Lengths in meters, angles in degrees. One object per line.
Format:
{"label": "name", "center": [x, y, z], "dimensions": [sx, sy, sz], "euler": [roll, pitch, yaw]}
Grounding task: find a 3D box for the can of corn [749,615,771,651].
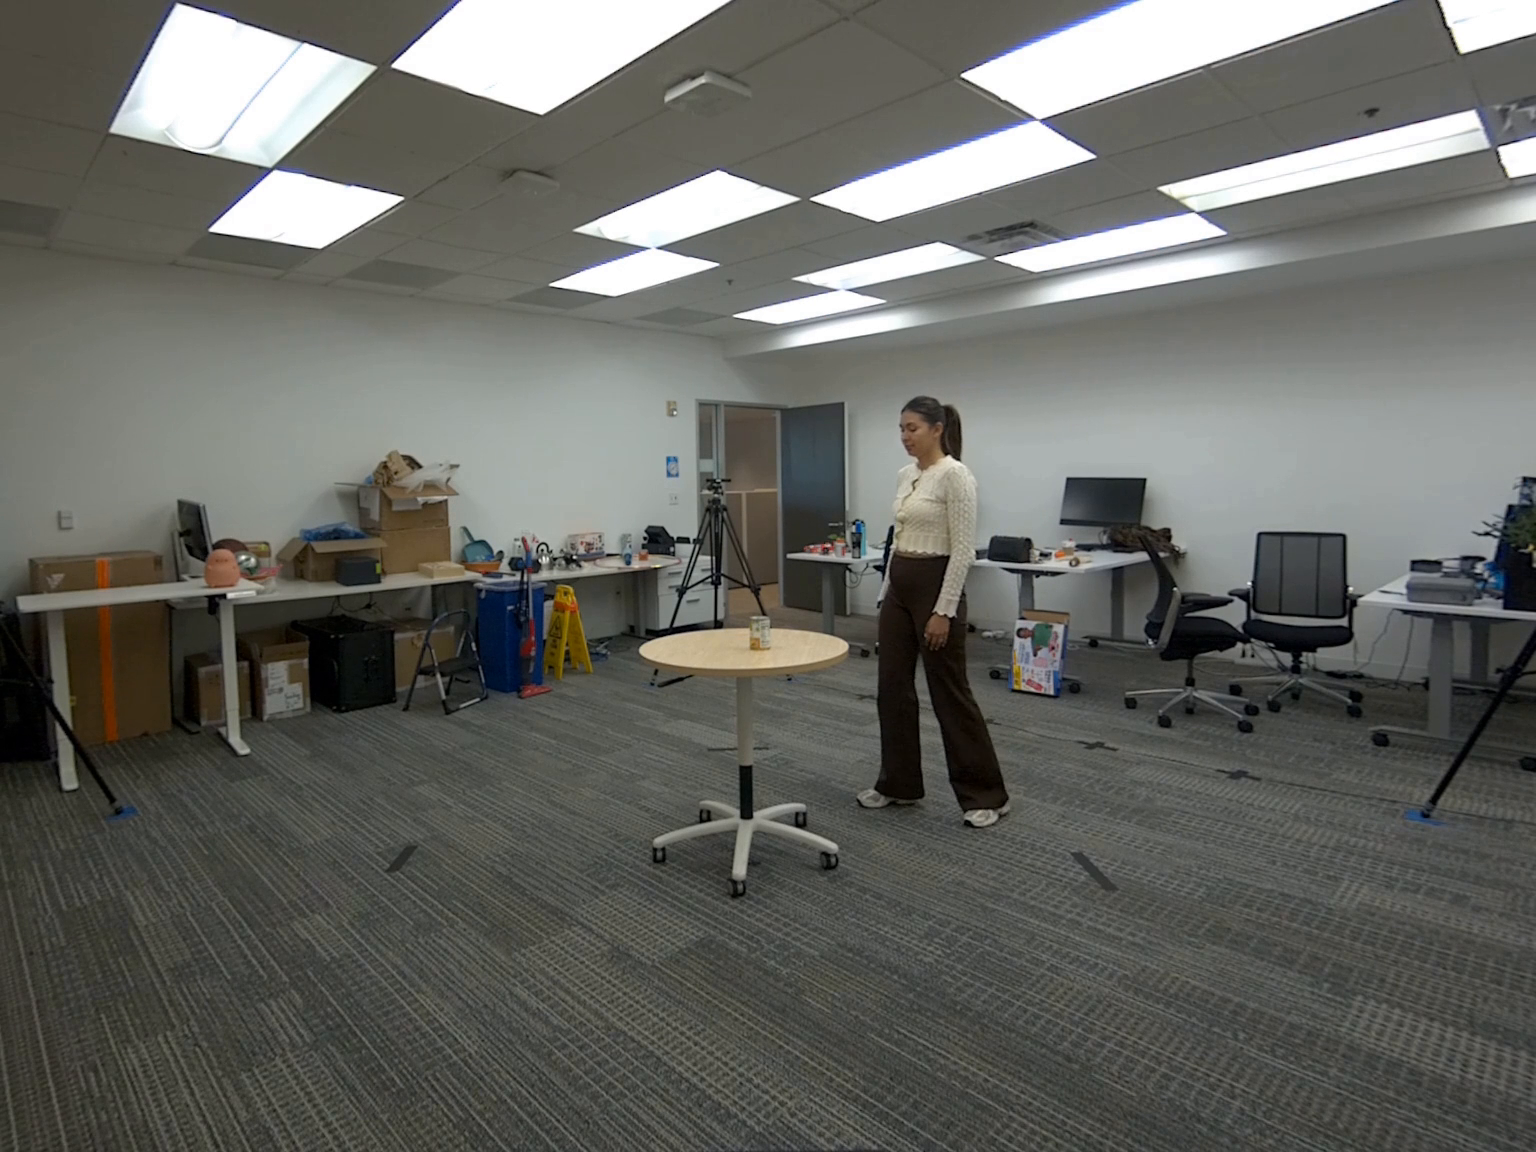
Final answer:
{"label": "can of corn", "center": [-0.027, 0.207, 3.082], "dimensions": [0.074, 0.110, 0.074], "euler": [0, 5, -2]}
